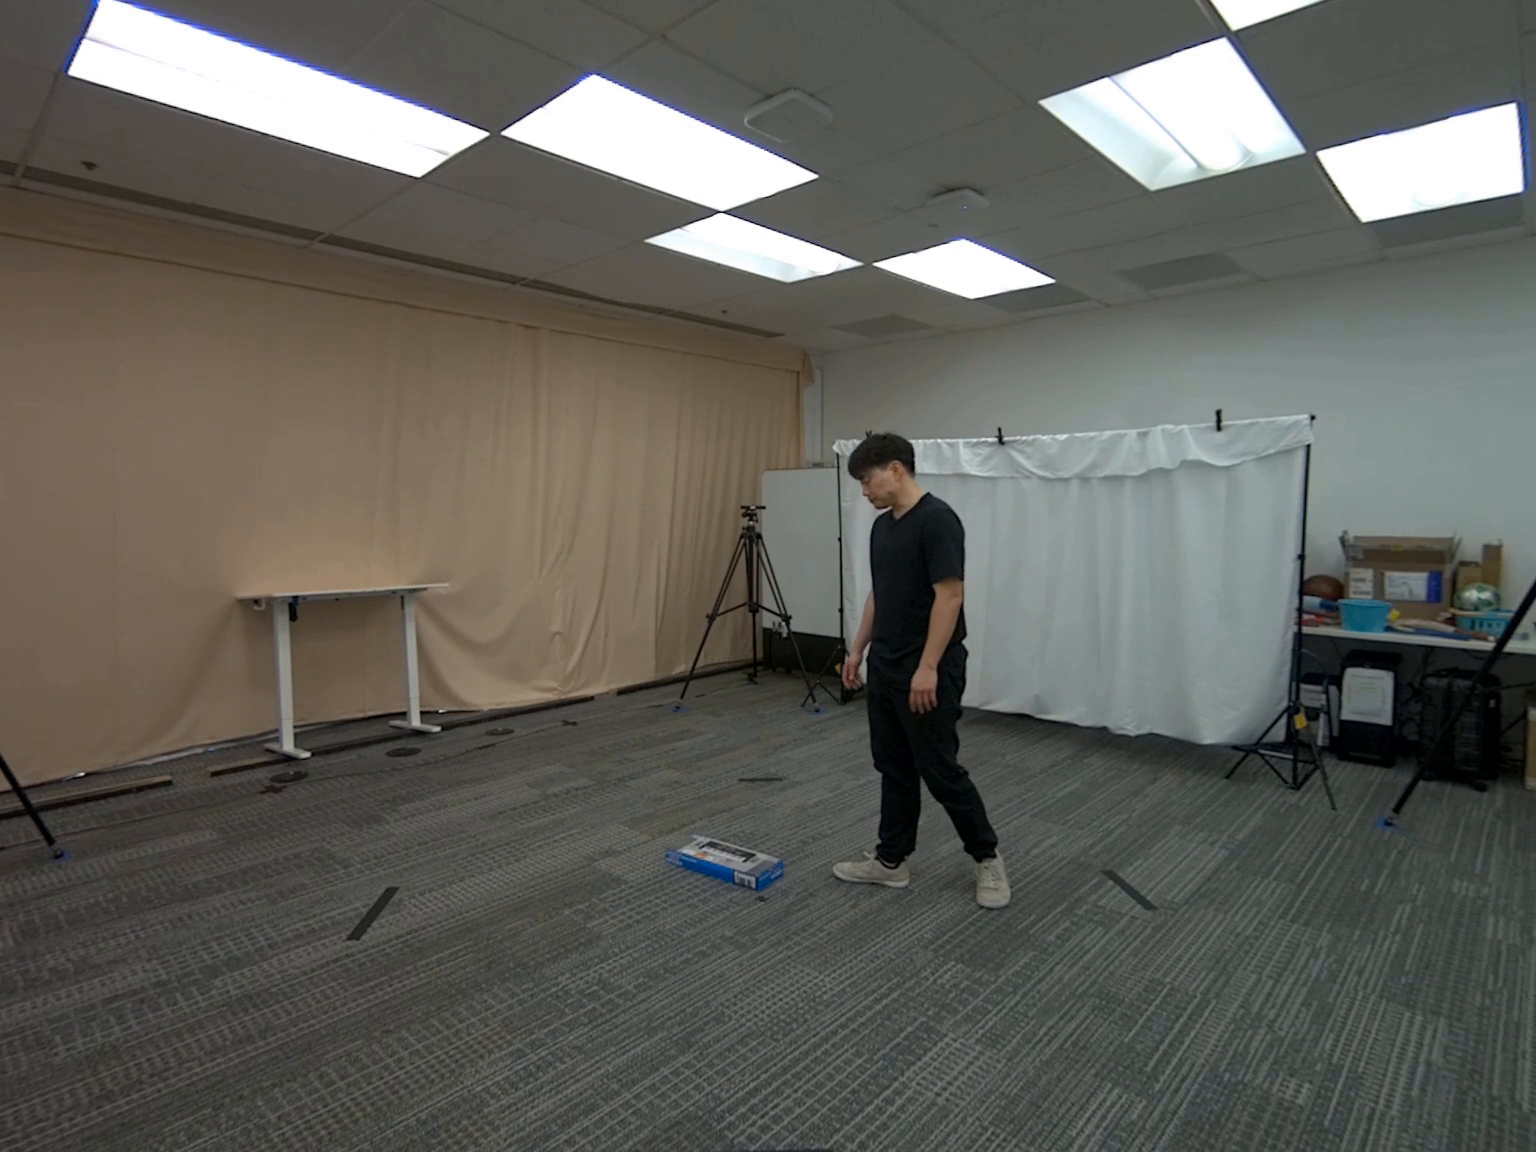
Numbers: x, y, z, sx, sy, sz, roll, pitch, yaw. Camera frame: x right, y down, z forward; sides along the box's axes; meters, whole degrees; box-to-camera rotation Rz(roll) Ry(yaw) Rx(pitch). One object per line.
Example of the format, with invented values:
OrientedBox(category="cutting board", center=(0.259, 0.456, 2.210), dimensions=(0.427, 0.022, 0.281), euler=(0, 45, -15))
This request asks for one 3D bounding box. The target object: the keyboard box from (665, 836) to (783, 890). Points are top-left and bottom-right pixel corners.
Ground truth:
OrientedBox(category="keyboard box", center=(-0.170, 1.094, 3.231), dimensions=(0.451, 0.059, 0.171), euler=(3, 7, 36))
